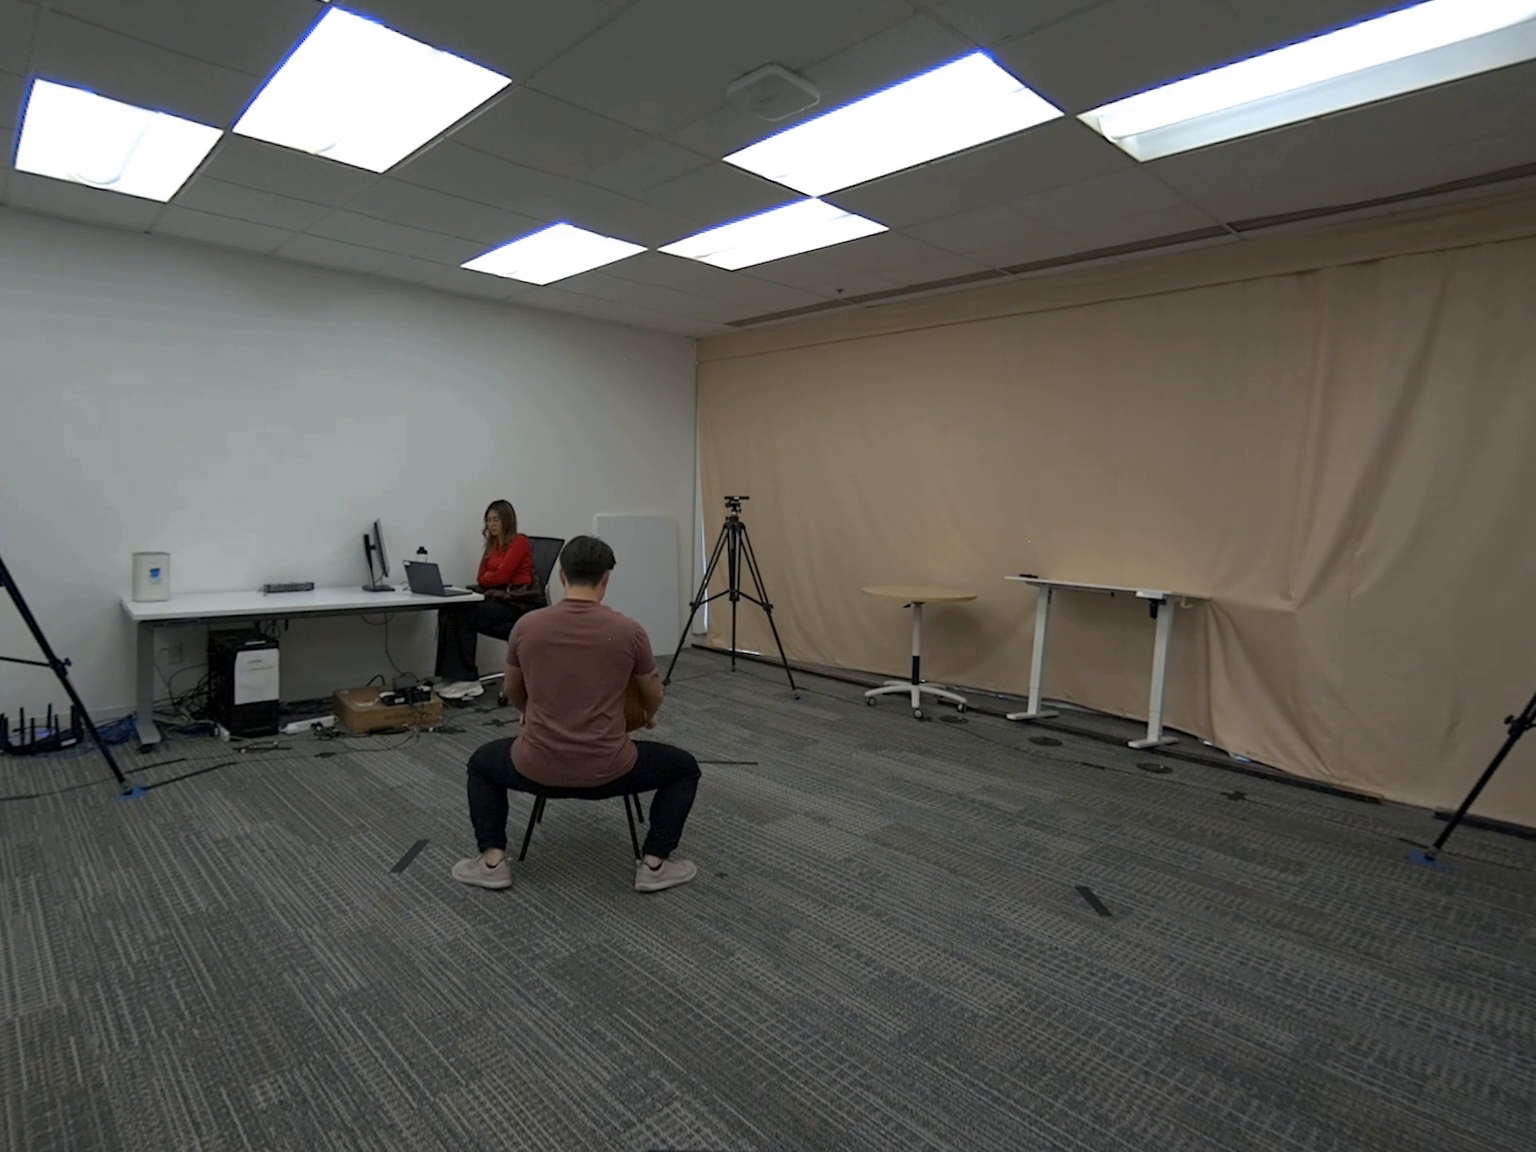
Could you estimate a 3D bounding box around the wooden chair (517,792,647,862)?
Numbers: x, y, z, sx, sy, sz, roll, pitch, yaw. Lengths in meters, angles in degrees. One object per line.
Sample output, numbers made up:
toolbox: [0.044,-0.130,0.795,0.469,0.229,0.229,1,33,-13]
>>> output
wooden chair: [-0.724,0.627,3.370,0.476,0.875,0.527,0,4,-5]
